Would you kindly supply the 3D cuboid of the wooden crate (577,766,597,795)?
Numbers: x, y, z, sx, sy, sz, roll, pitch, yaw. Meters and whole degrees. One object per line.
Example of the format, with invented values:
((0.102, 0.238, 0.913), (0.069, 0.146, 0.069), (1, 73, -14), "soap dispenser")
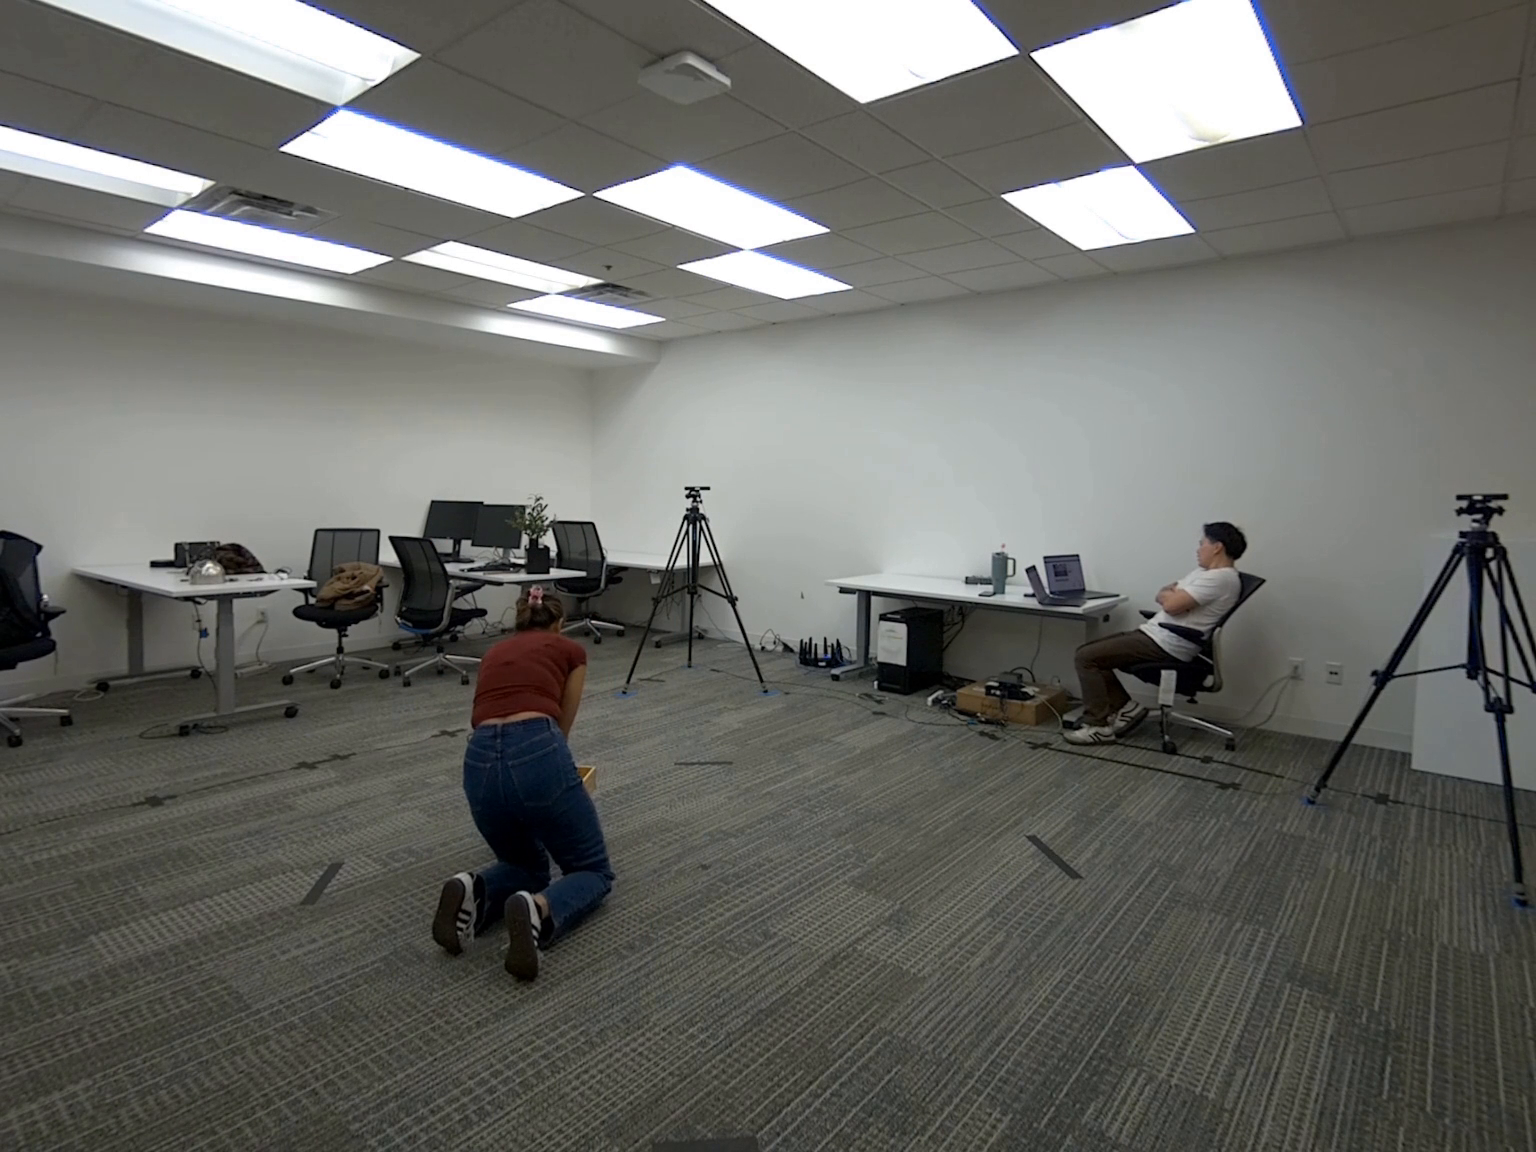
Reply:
((-0.875, 0.904, 3.299), (0.304, 0.272, 0.324), (0, 5, 5), "wooden crate")
